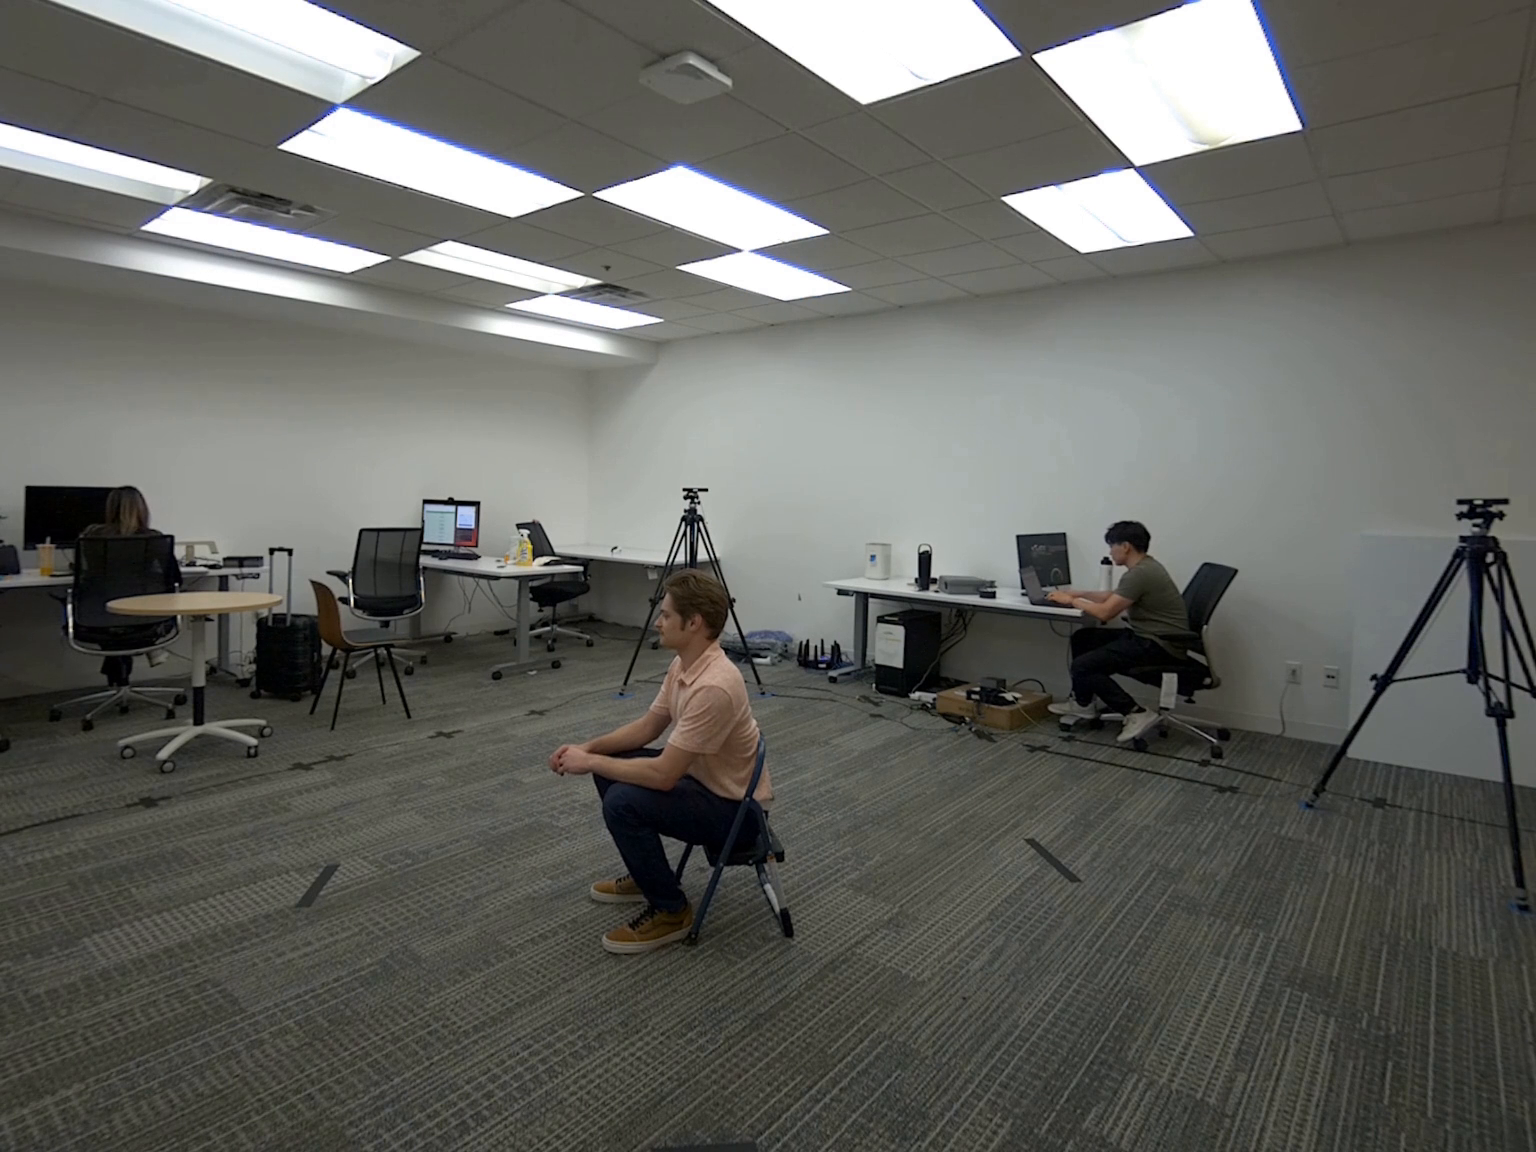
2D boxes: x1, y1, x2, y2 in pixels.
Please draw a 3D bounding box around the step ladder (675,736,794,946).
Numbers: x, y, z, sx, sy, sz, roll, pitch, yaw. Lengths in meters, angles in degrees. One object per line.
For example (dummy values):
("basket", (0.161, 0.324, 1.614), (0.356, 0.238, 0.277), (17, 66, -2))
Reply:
("step ladder", (-0.129, 0.807, 2.803), (0.345, 0.604, 0.437), (0, 3, -12))
